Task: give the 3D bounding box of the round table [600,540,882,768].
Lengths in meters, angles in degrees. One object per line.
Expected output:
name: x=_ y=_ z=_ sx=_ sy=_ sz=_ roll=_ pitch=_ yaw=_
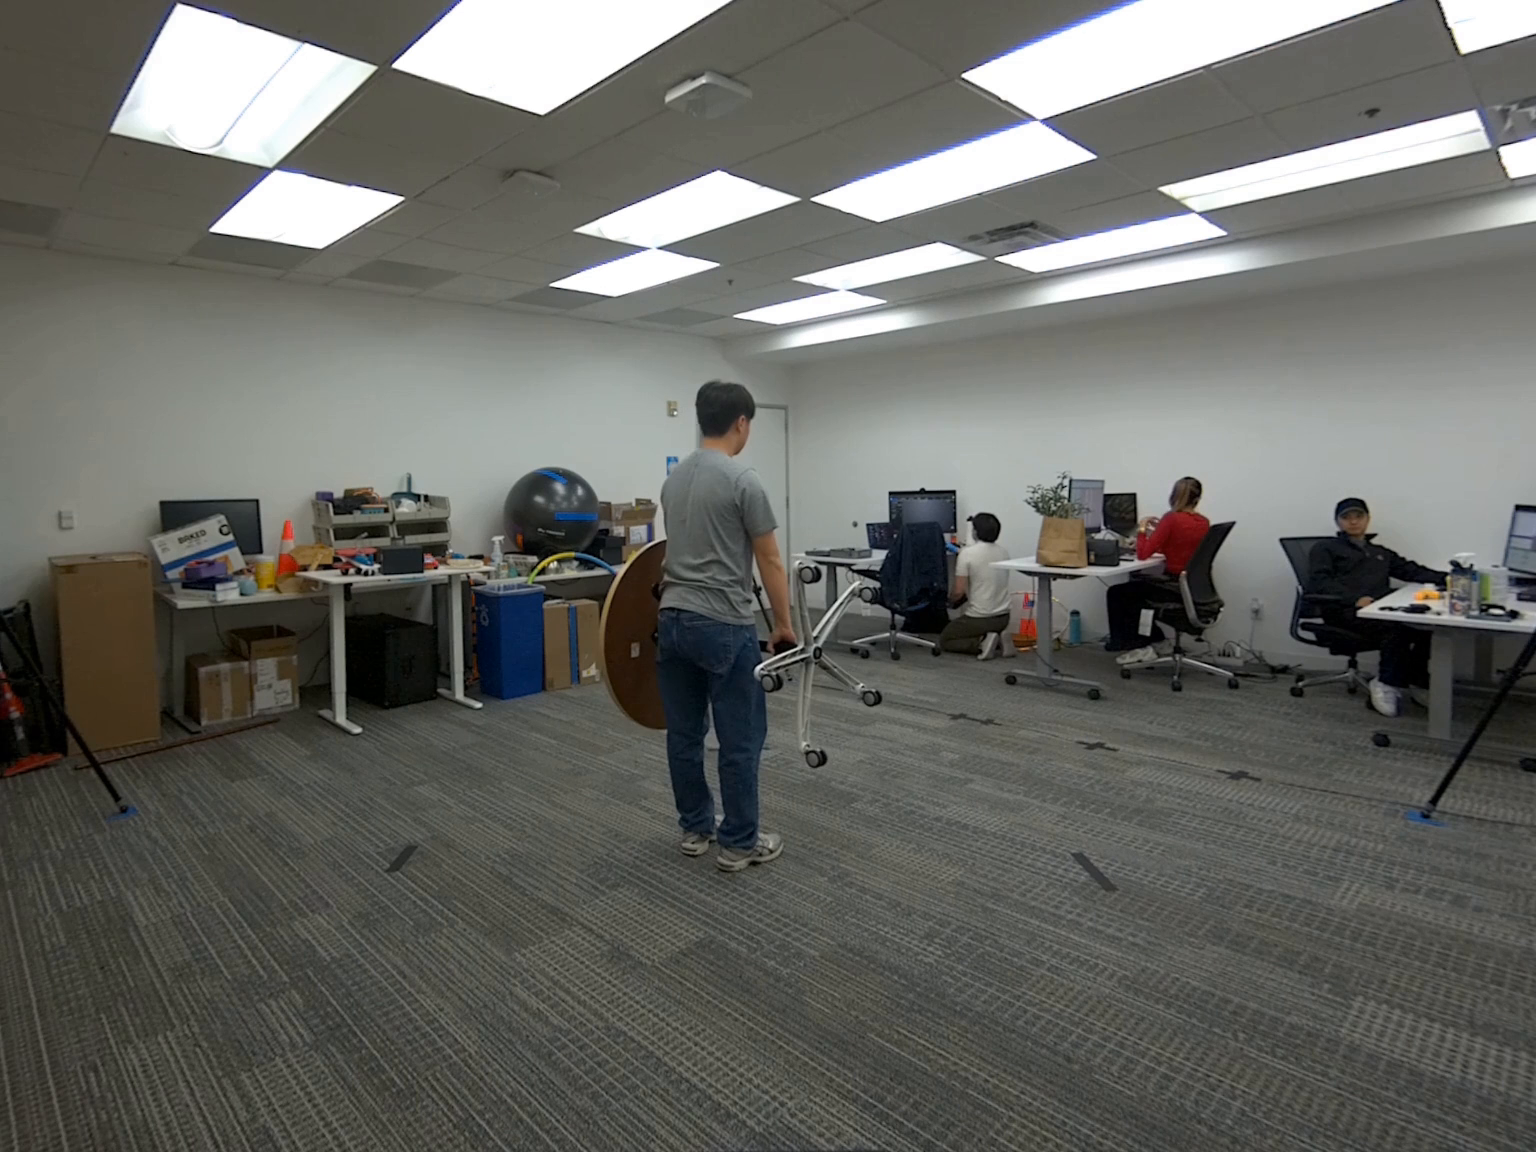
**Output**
round table: x=-0.073 y=0.258 z=3.185 sx=0.818 sy=0.761 sz=0.744 roll=3 pitch=6 yaw=39
